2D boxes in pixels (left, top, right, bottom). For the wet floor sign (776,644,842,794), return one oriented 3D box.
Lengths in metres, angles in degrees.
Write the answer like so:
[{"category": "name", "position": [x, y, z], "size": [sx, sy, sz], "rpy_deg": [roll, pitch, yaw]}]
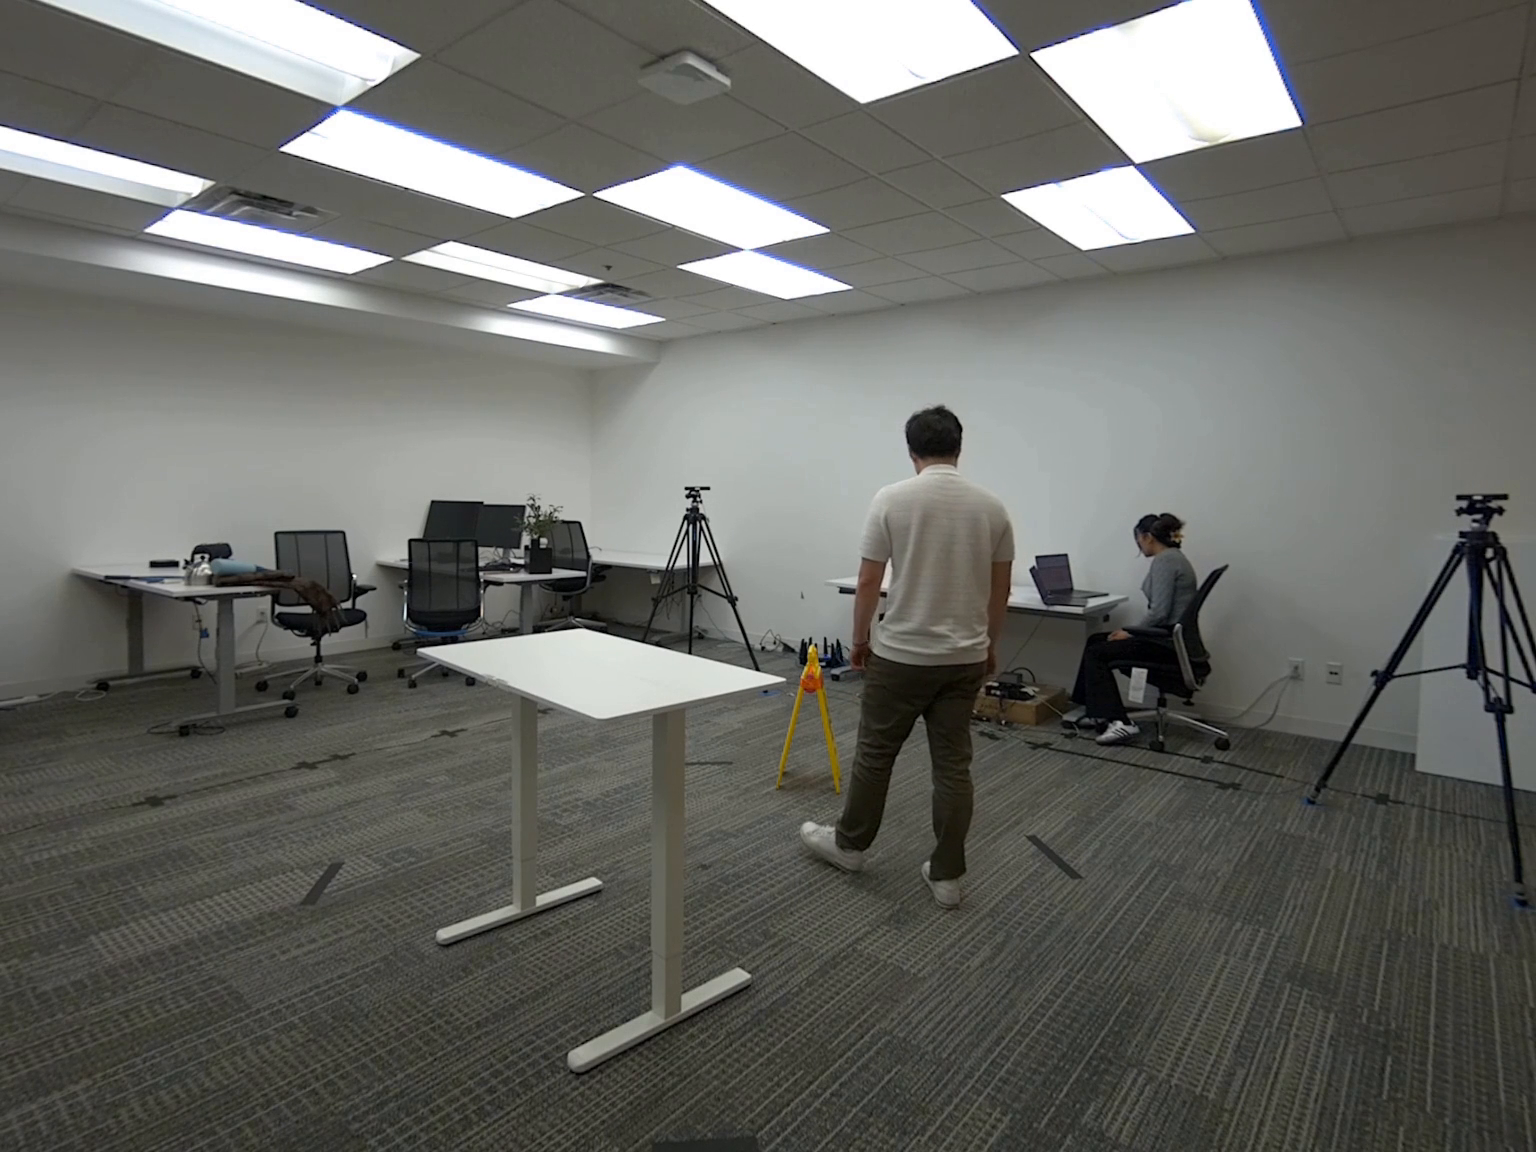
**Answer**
[{"category": "wet floor sign", "position": [0.199, 0.651, 4.044], "size": [0.293, 0.643, 0.281], "rpy_deg": [1, 5, 8]}]
